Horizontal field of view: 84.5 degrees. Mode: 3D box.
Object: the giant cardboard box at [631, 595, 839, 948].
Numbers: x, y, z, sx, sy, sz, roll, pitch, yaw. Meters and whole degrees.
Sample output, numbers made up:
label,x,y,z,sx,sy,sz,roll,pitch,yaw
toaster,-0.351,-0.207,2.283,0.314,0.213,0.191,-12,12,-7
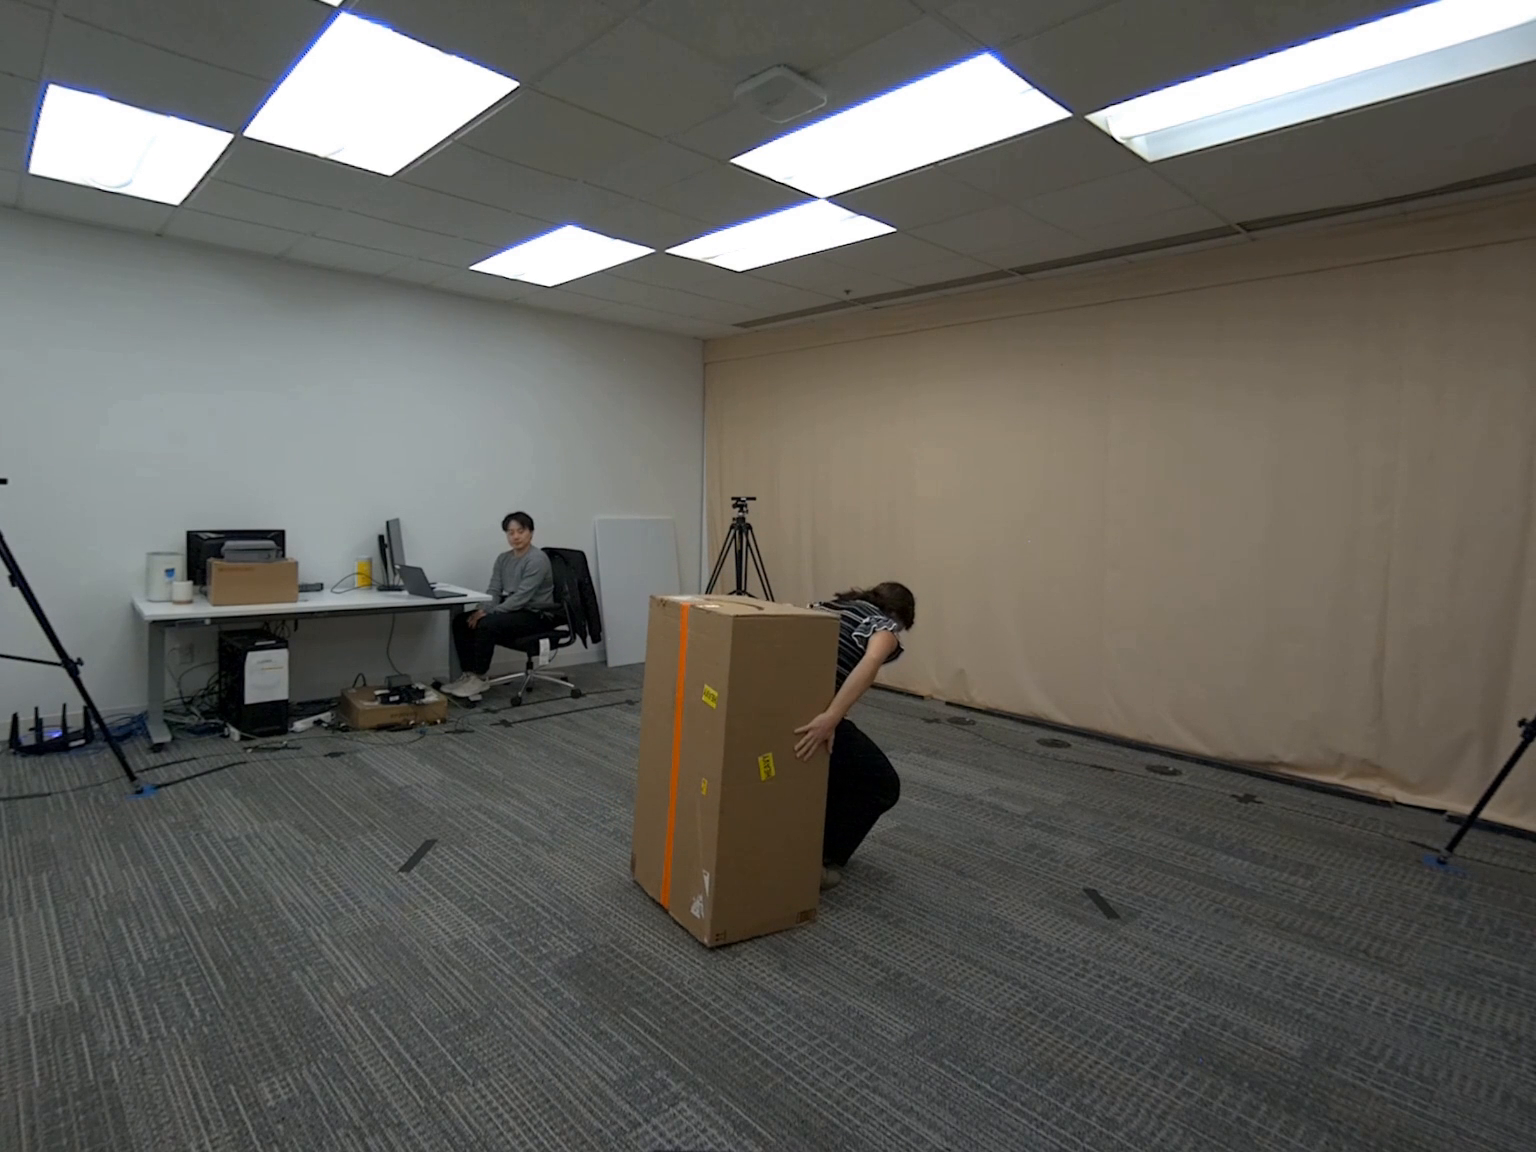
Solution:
label,x,y,z,sx,sy,sz,roll,pitch,yaw
giant cardboard box,-0.143,0.609,2.896,0.416,1.025,0.591,3,2,-34
